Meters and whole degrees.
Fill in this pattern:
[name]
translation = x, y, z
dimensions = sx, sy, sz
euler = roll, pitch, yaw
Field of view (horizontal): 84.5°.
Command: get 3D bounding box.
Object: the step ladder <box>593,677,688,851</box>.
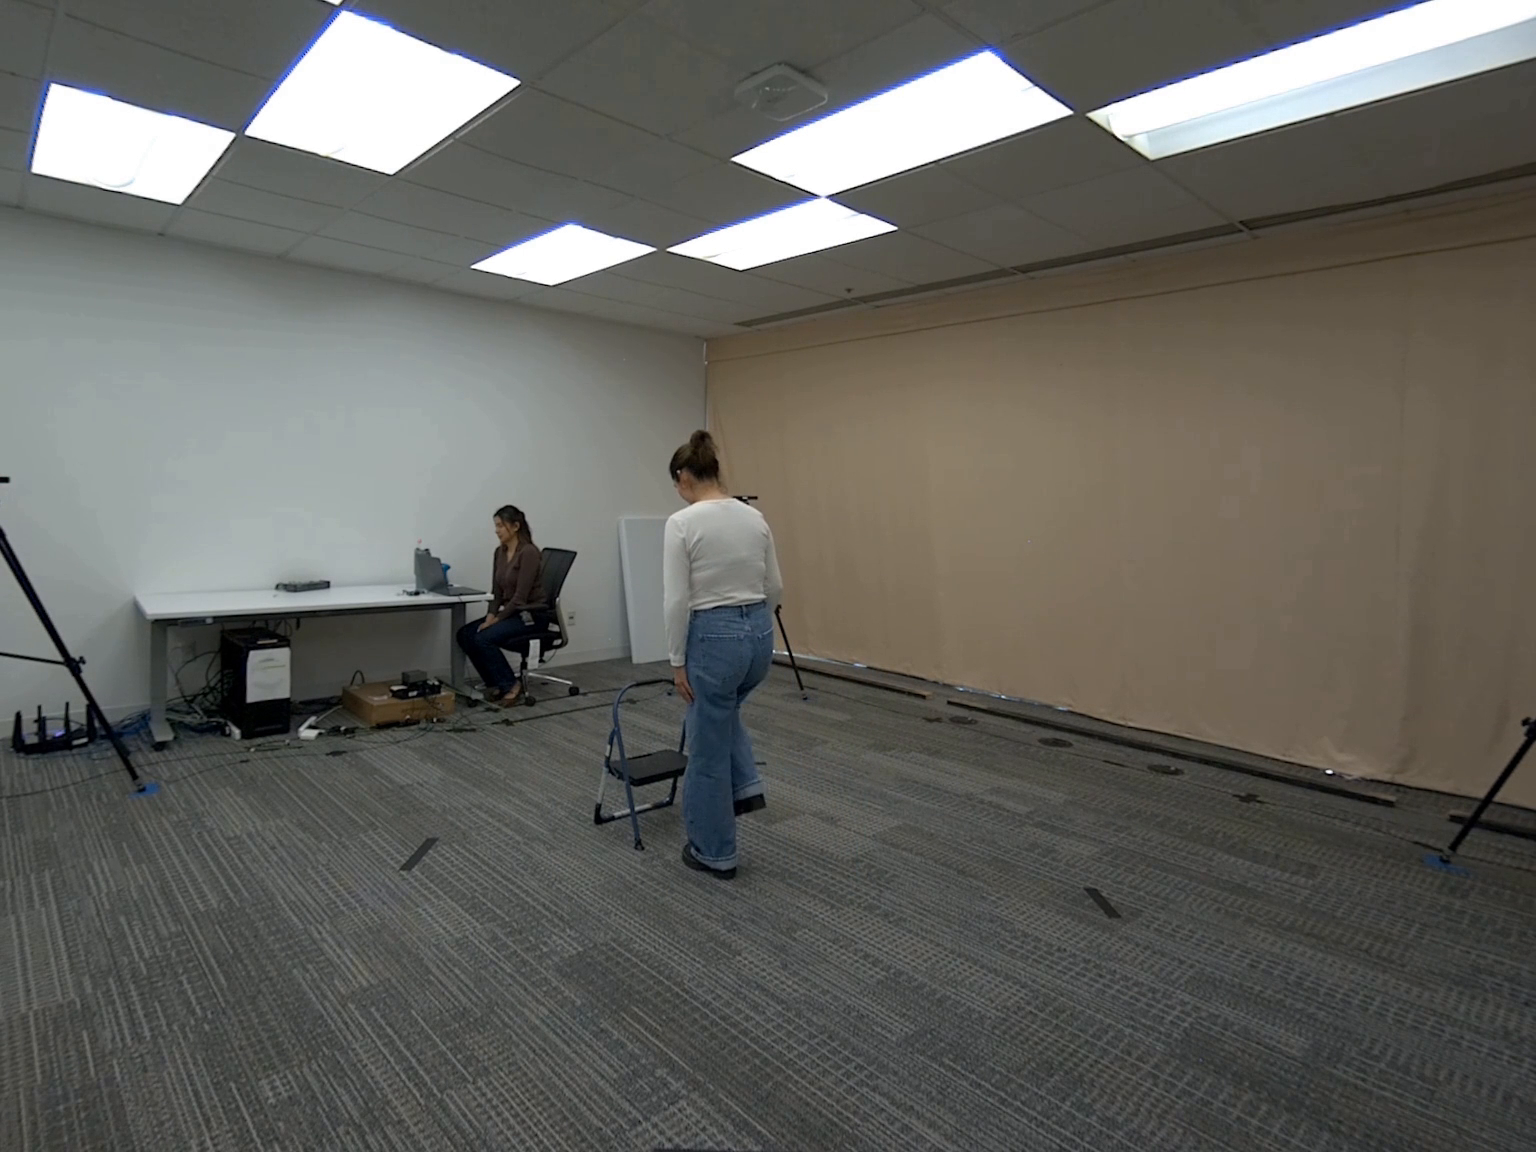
[step ladder]
translation = -0.470, 0.754, 3.550
dimensions = 0.421, 0.605, 0.358
euler = -1, 5, -43
